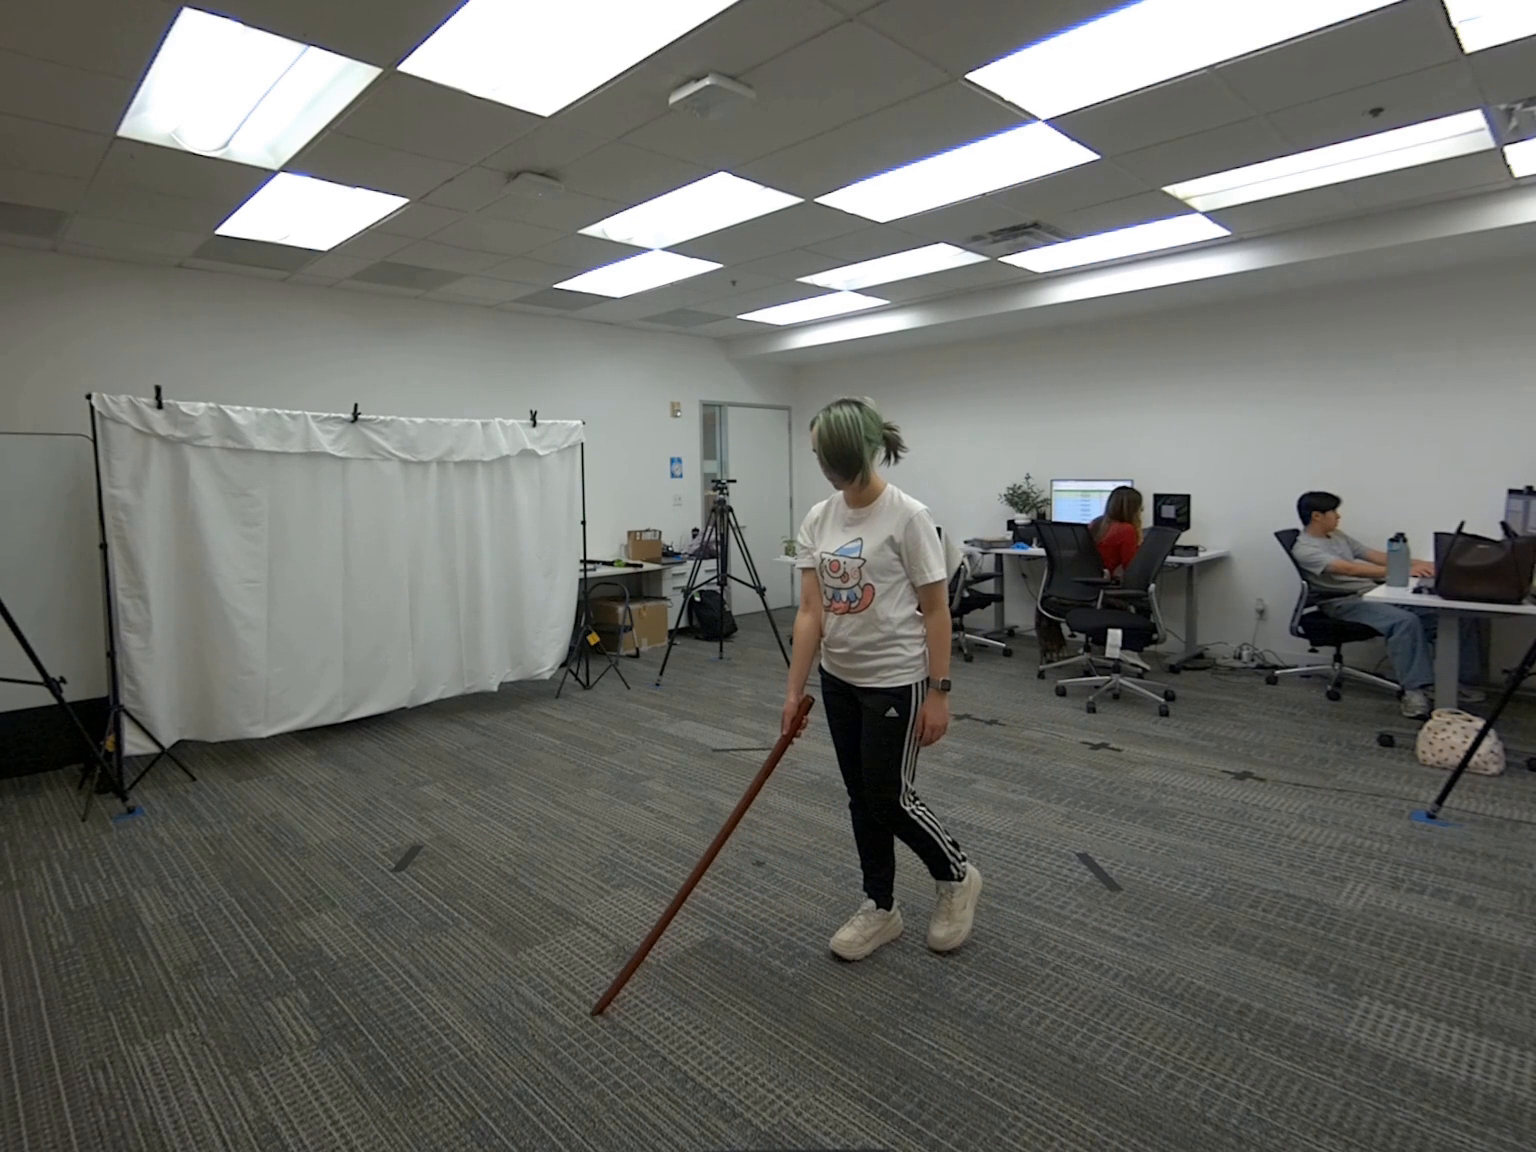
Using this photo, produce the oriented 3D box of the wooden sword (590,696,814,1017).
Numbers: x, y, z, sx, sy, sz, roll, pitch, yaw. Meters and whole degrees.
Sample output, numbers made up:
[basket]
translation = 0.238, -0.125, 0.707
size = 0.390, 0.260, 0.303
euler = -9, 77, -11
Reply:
[wooden sword]
translation = -0.145, 0.760, 2.372
size = 0.023, 1.027, 0.053
euler = 44, -19, -26
